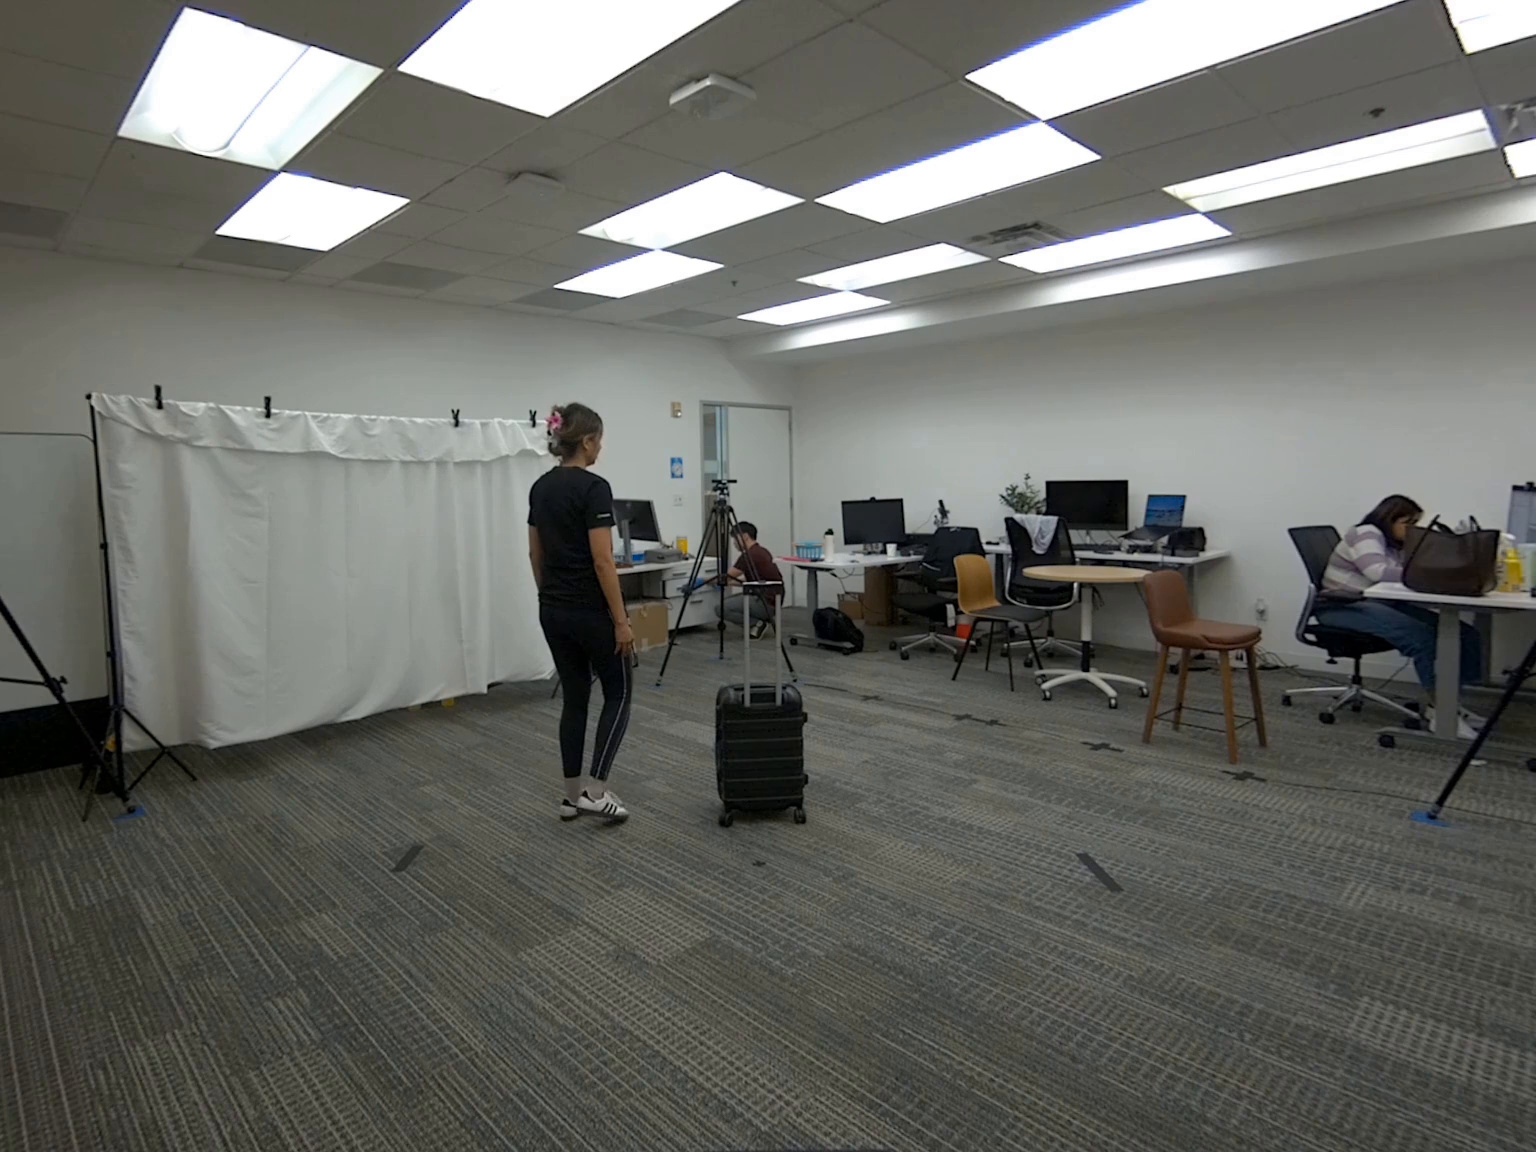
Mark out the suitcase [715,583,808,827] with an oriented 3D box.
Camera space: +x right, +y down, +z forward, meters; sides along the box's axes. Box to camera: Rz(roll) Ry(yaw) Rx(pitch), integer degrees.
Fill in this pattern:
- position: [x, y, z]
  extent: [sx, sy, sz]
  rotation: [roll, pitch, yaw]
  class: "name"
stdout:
- position: [-0.034, 0.522, 3.564]
  extent: [0.382, 0.977, 0.258]
  rotation: [0, 2, -5]
  class: "suitcase"
